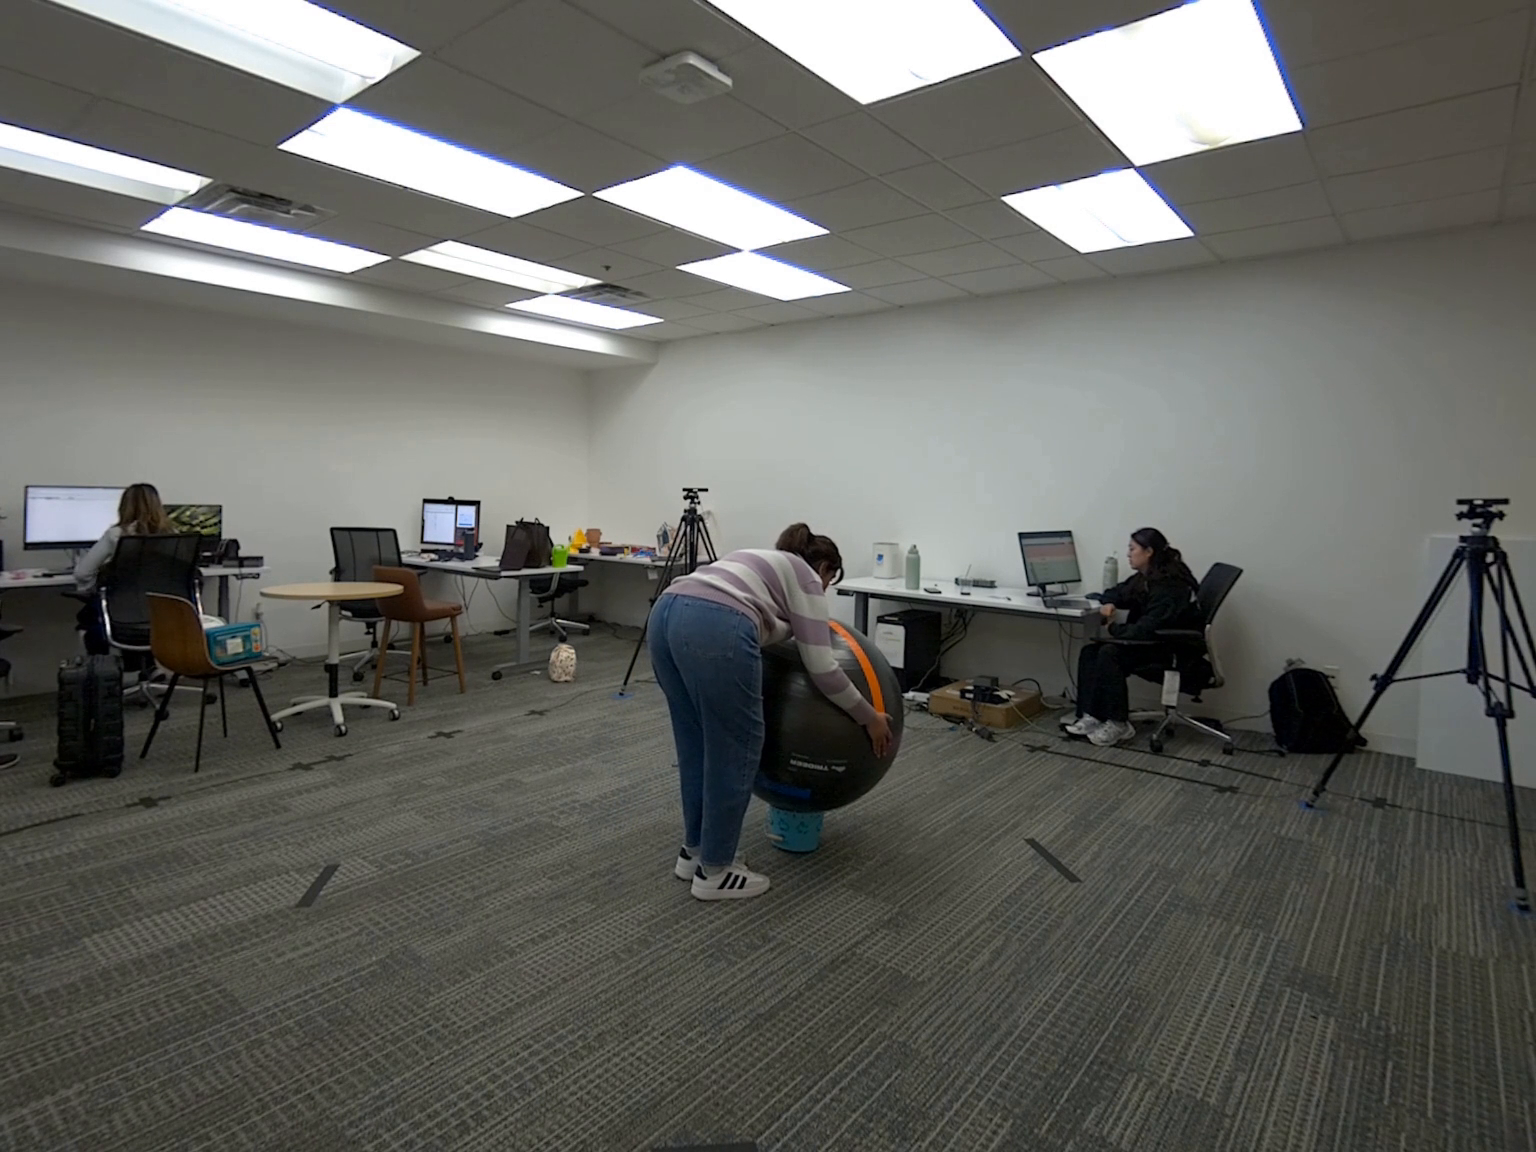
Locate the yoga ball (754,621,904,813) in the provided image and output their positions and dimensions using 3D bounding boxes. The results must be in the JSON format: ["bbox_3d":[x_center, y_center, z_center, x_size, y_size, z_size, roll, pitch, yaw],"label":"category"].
[{"bbox_3d":[0.147,0.529,3.365,0.757,0.756,0.762,1,4,-2],"label":"yoga ball"}]
